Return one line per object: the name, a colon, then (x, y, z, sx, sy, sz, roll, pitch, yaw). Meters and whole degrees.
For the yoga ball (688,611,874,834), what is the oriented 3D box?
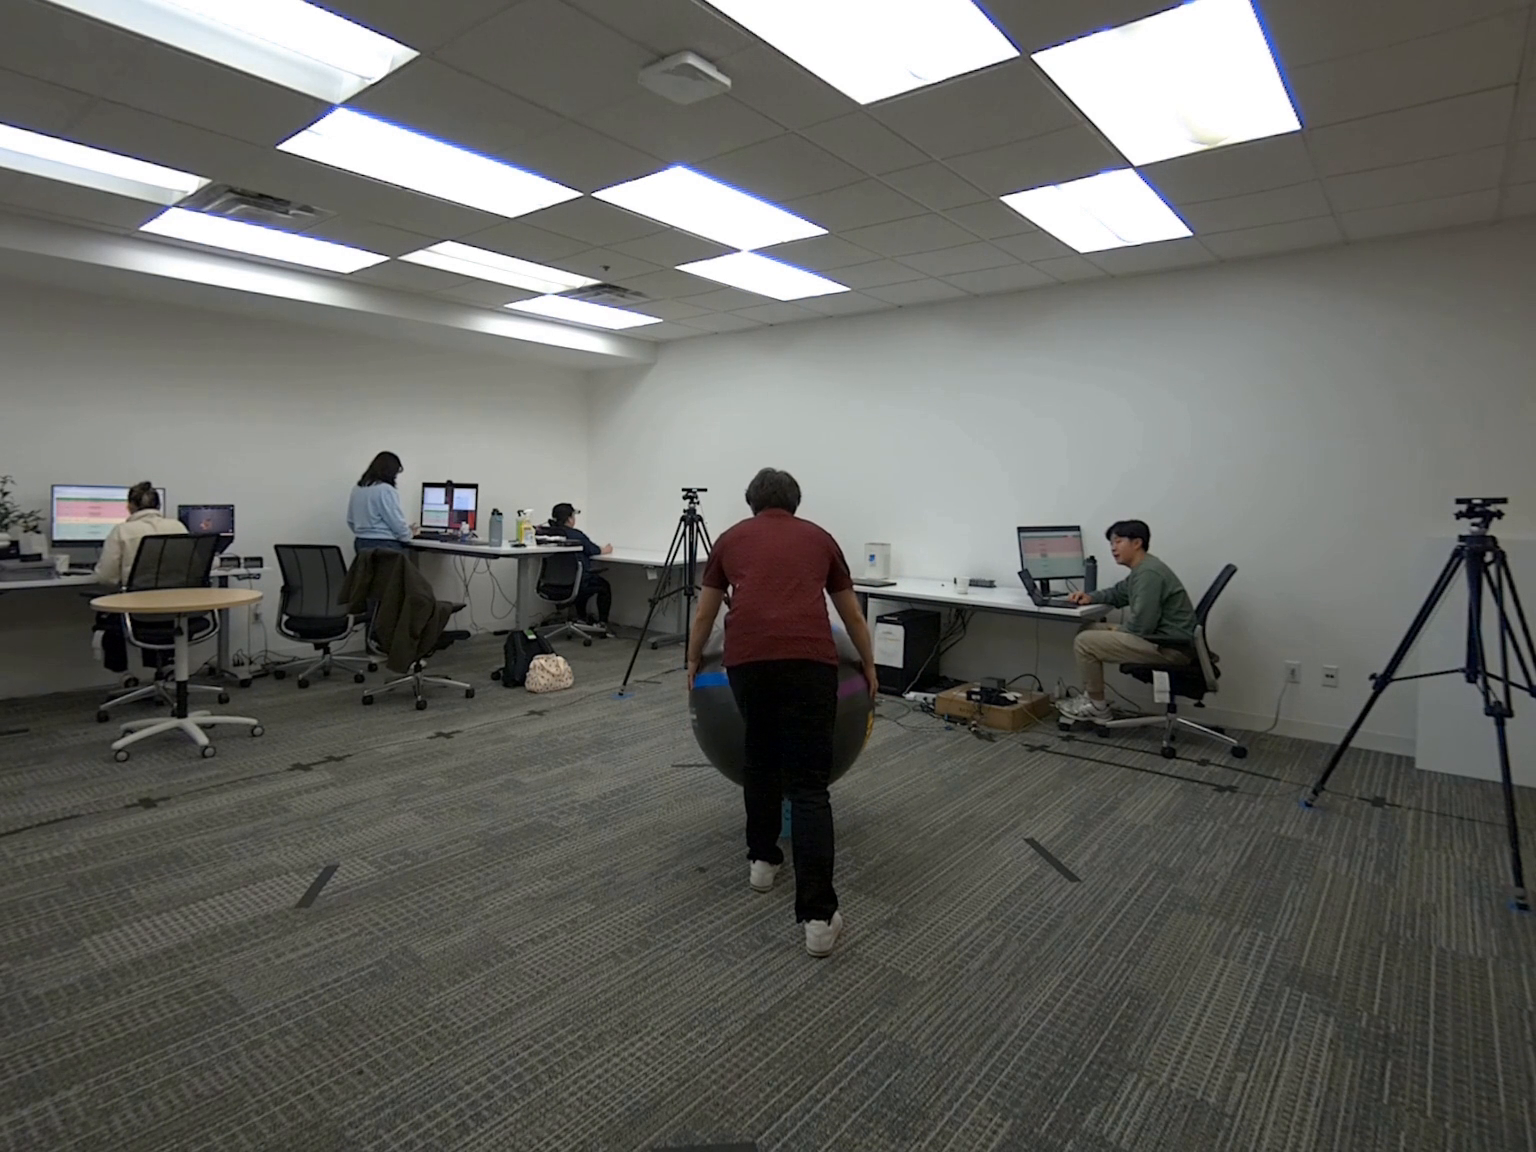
yoga ball: (0.047, 0.505, 3.482, 0.757, 0.756, 0.762, 1, 4, -2)
